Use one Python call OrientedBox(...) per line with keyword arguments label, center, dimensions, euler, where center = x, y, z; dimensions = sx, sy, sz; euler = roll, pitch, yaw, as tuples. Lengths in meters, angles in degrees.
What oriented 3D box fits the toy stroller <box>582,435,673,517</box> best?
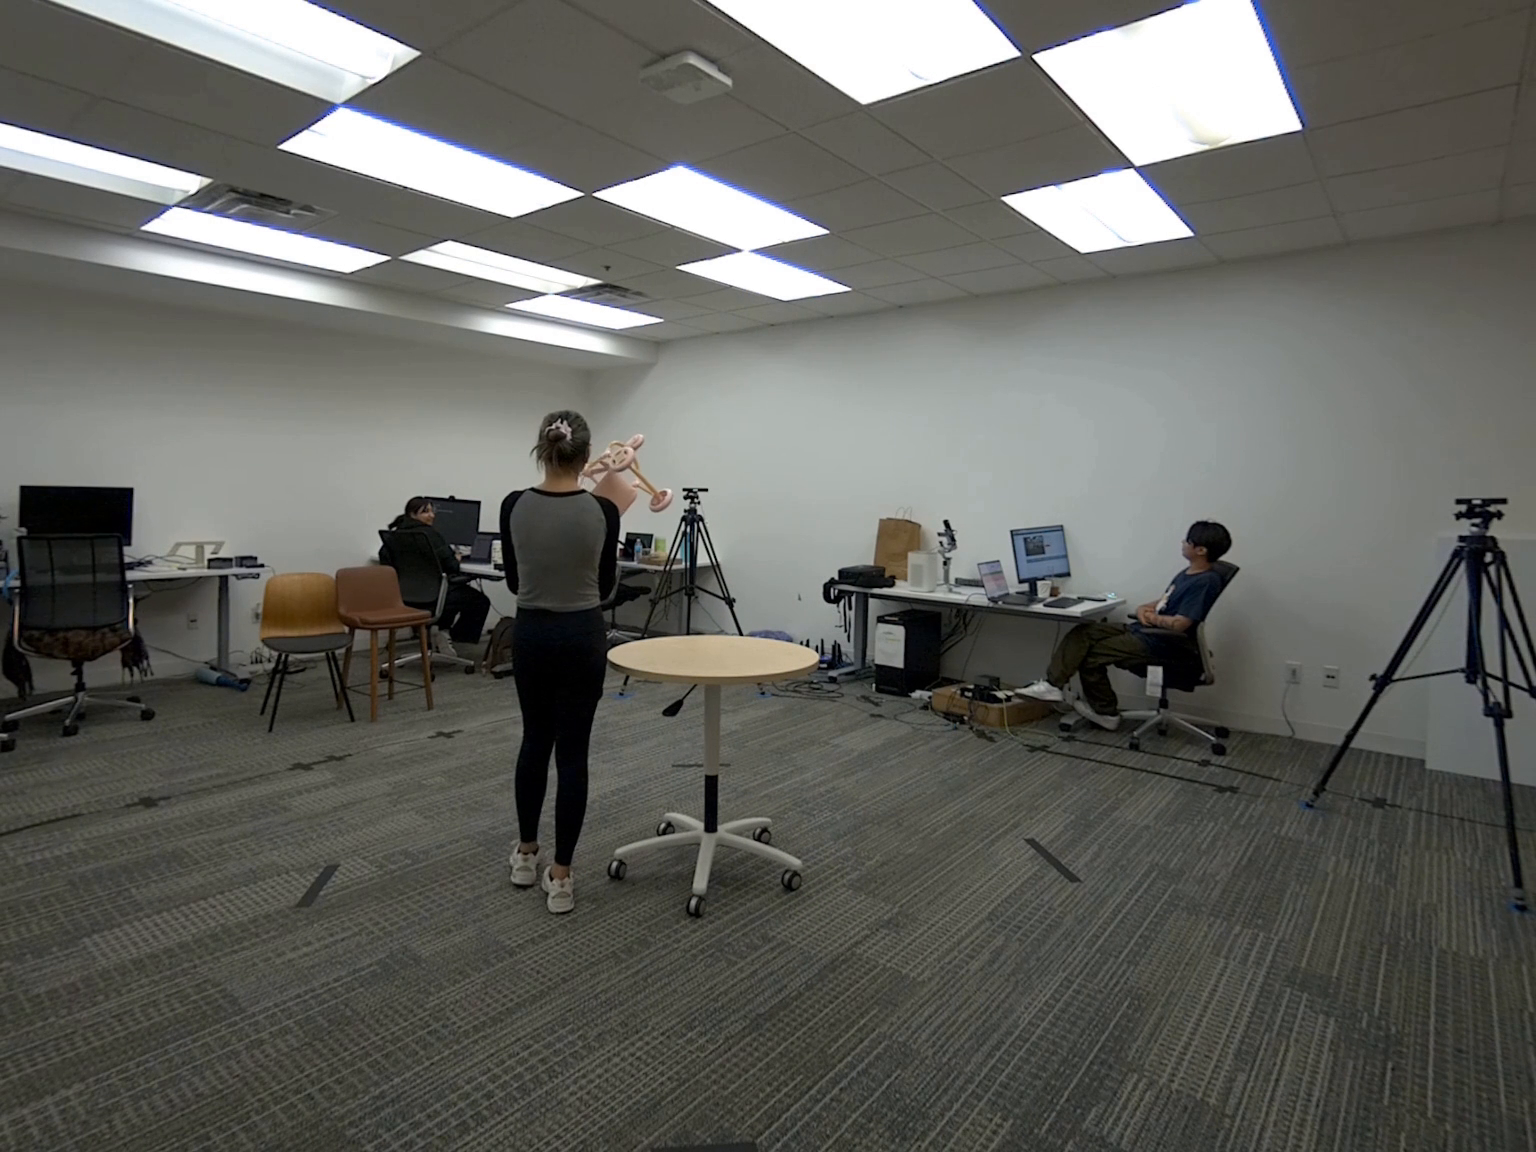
OrientedBox(label="toy stroller", center=(-0.645, -0.315, 3.298), dimensions=(0.269, 0.535, 0.356), euler=(47, 0, -44))
